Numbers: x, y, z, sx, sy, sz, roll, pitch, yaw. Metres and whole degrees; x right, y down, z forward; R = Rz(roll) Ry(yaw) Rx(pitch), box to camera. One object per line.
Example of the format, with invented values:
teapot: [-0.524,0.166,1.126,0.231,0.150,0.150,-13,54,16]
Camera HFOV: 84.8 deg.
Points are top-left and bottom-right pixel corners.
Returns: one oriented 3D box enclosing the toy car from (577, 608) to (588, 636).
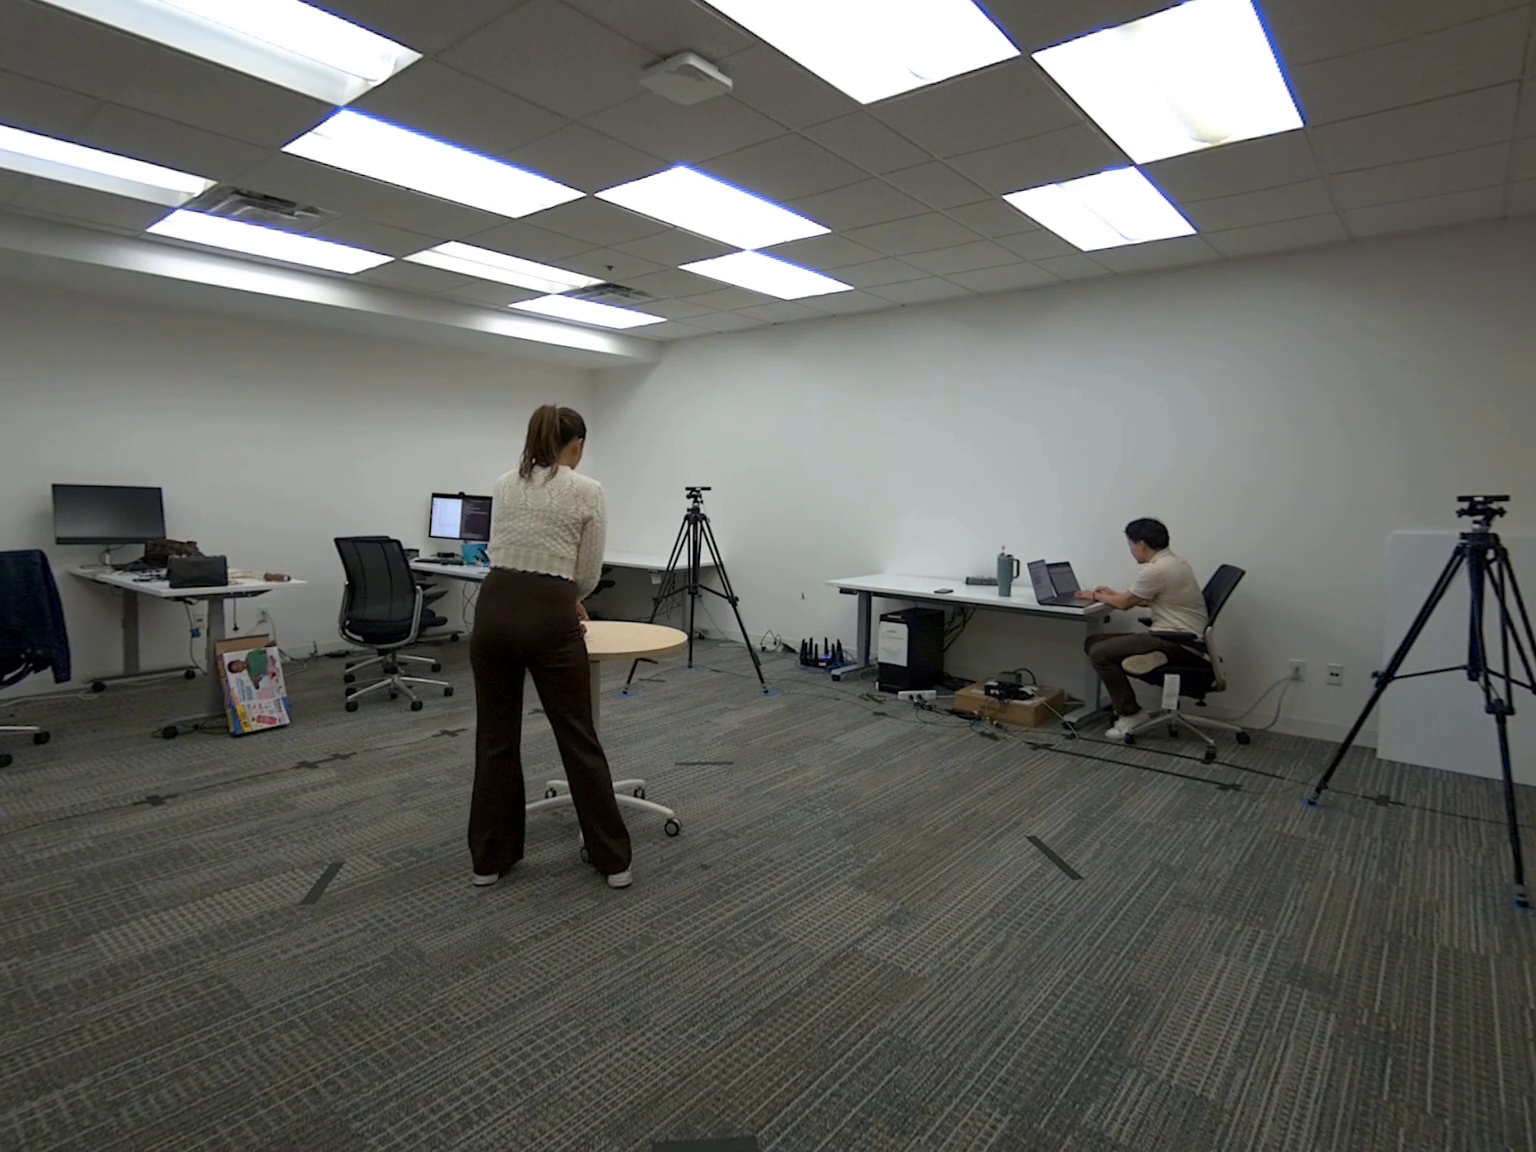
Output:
toy car: [-0.815,0.214,3.354,0.131,0.084,0.251,1,-6,5]
